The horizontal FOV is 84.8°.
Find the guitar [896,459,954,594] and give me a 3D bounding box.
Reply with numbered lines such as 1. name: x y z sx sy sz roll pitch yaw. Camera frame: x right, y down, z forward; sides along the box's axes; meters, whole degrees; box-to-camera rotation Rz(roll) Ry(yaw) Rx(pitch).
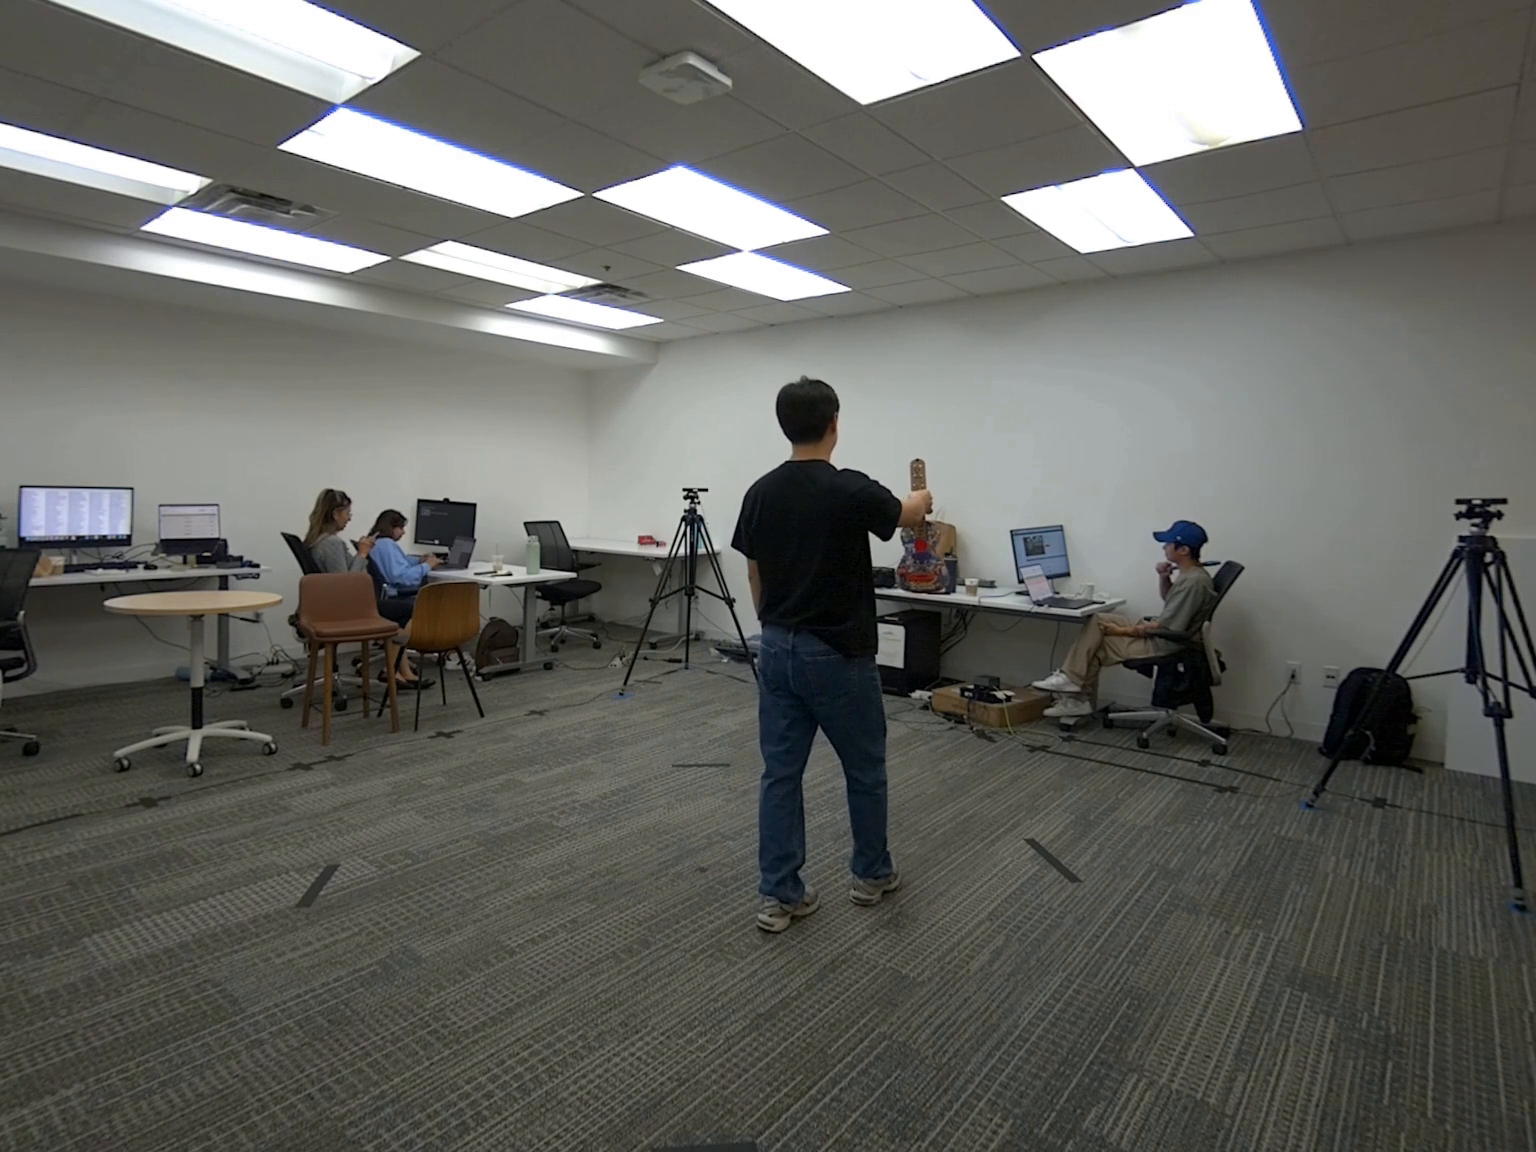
1. guitar: 0.585 -0.185 3.178 0.196 0.499 0.069 7 -4 14
